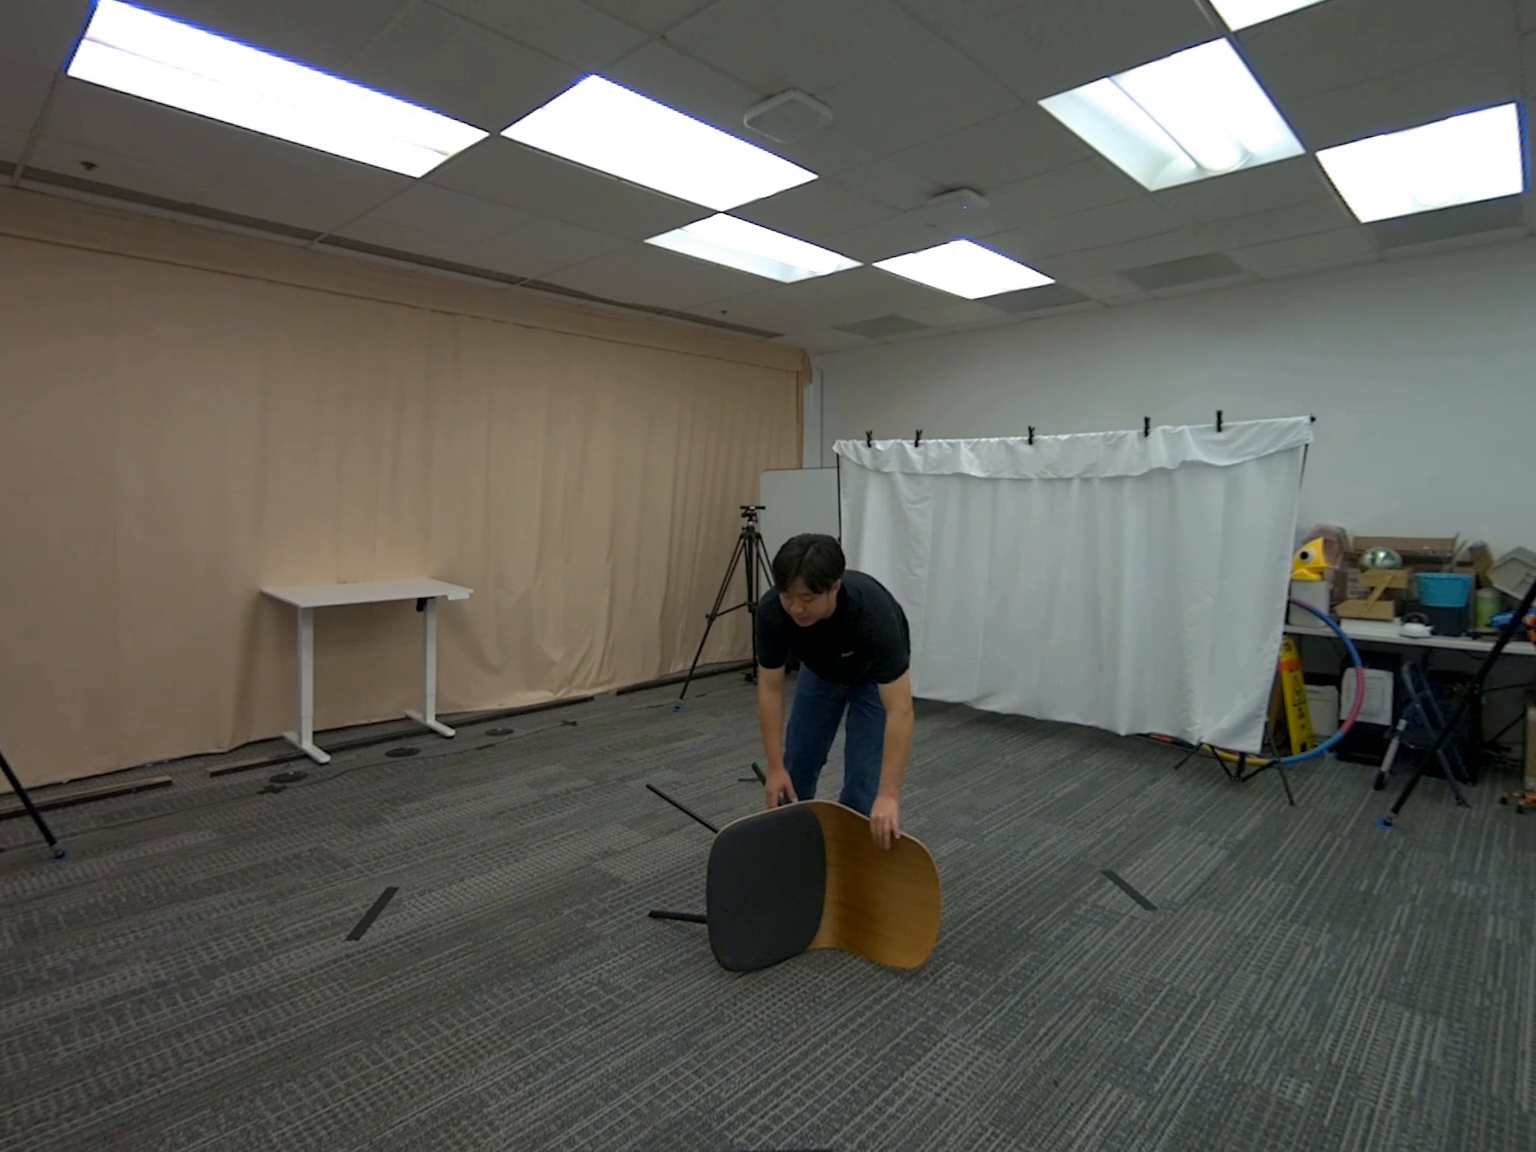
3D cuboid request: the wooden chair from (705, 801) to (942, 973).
[{"bbox_3d":[0.022,0.944,2.615,0.507,0.477,0.906,-3,5,-40],"label":"wooden chair"}]
